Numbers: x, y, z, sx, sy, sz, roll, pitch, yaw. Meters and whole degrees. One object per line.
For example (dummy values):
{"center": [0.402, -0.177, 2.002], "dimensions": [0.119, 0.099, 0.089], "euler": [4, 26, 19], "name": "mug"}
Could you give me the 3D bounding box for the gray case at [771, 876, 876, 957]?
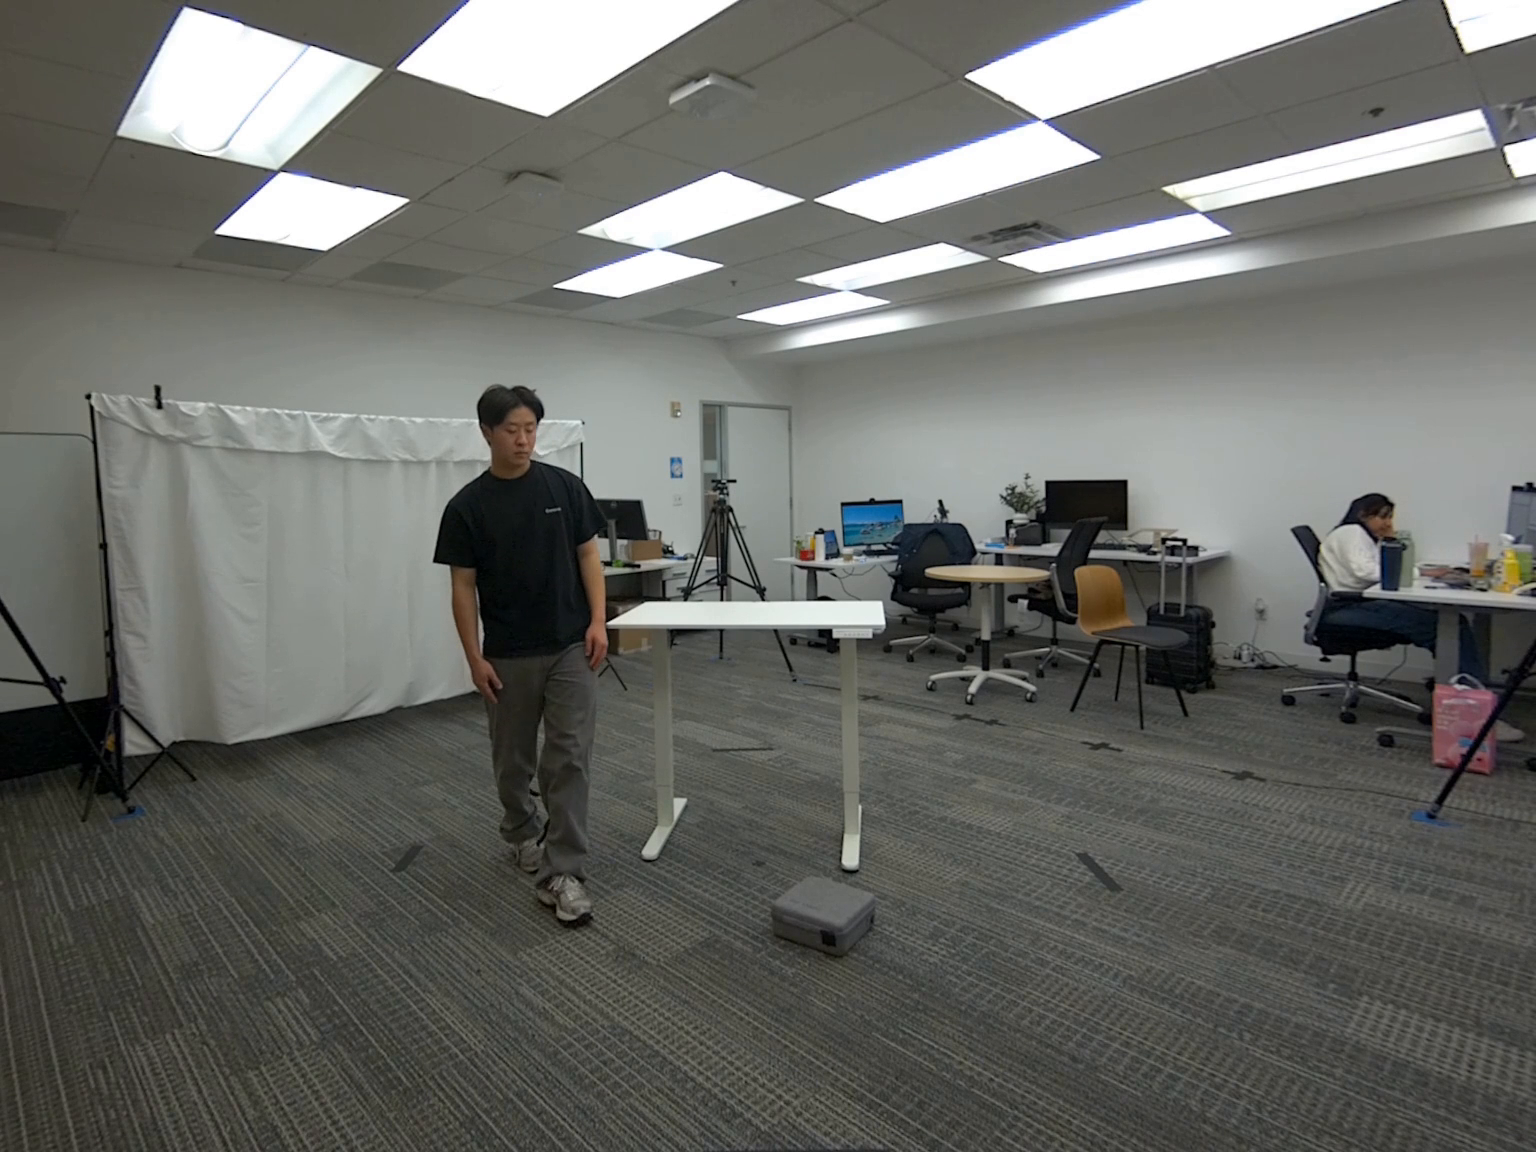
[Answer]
{"center": [0.183, 1.043, 2.650], "dimensions": [0.271, 0.102, 0.280], "euler": [4, 7, 34], "name": "gray case"}
